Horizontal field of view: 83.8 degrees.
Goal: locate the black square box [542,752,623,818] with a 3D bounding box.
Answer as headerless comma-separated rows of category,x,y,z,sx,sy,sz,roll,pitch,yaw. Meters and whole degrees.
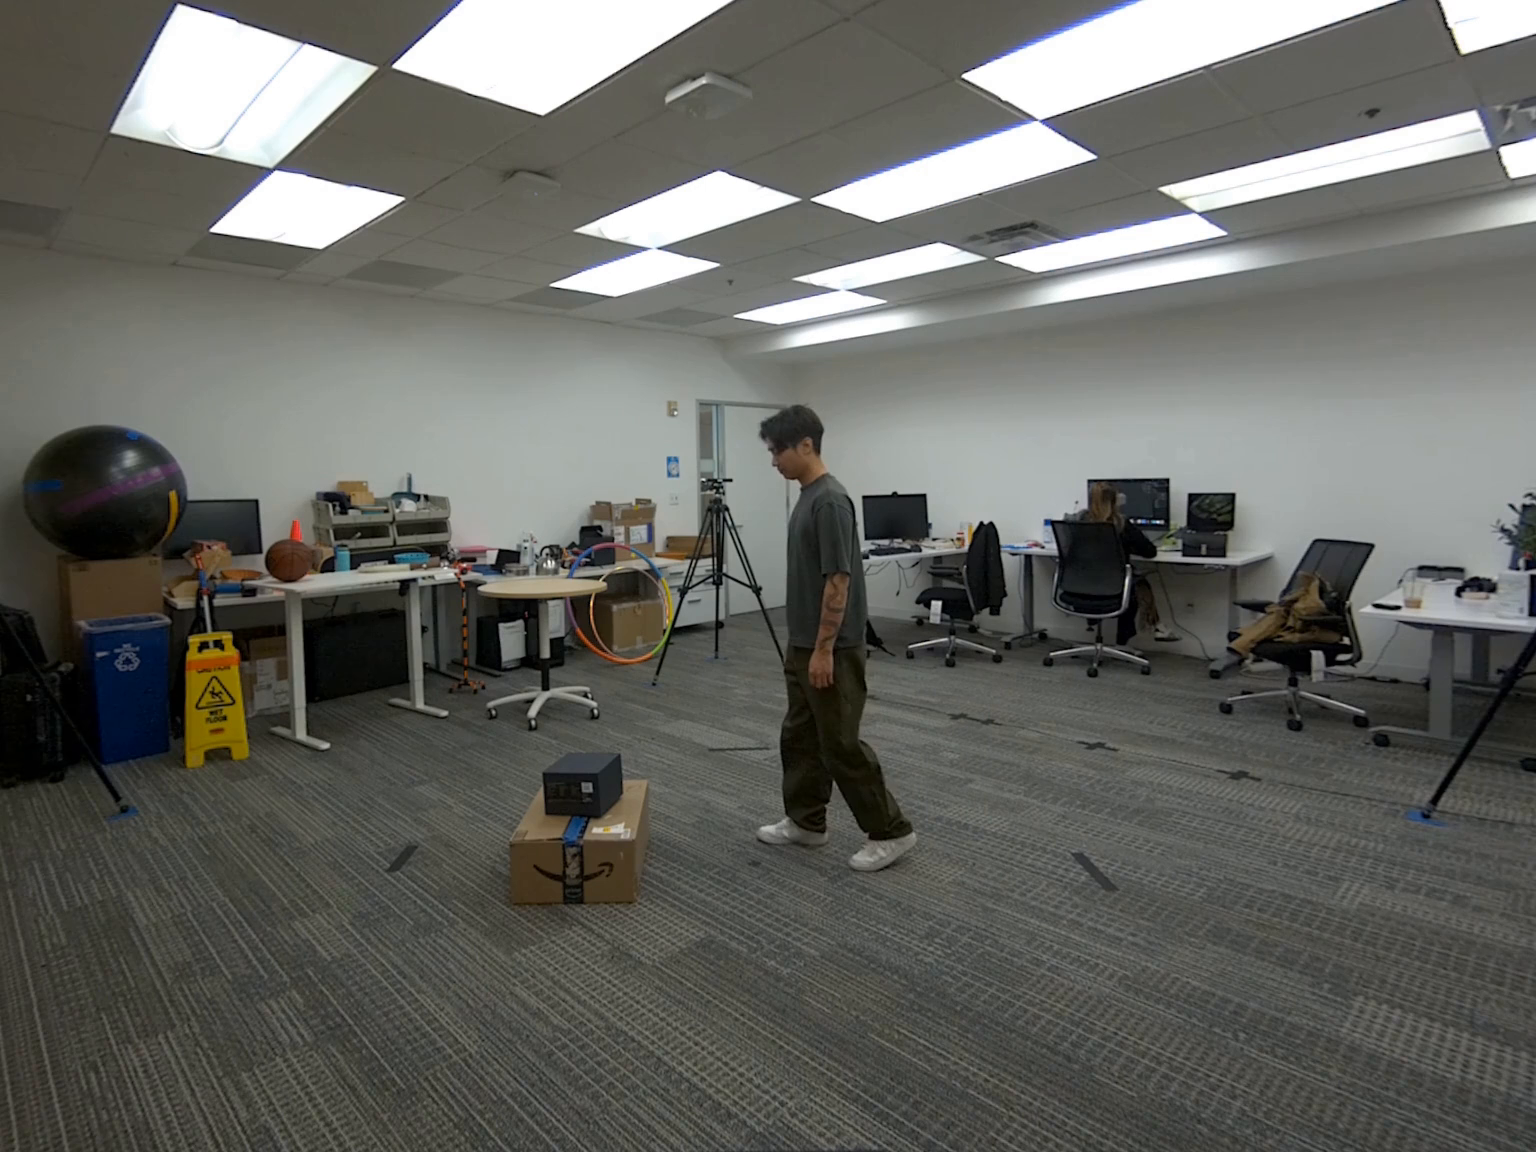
black square box,-0.670,0.756,3.114,0.219,0.155,0.226,-3,5,12
